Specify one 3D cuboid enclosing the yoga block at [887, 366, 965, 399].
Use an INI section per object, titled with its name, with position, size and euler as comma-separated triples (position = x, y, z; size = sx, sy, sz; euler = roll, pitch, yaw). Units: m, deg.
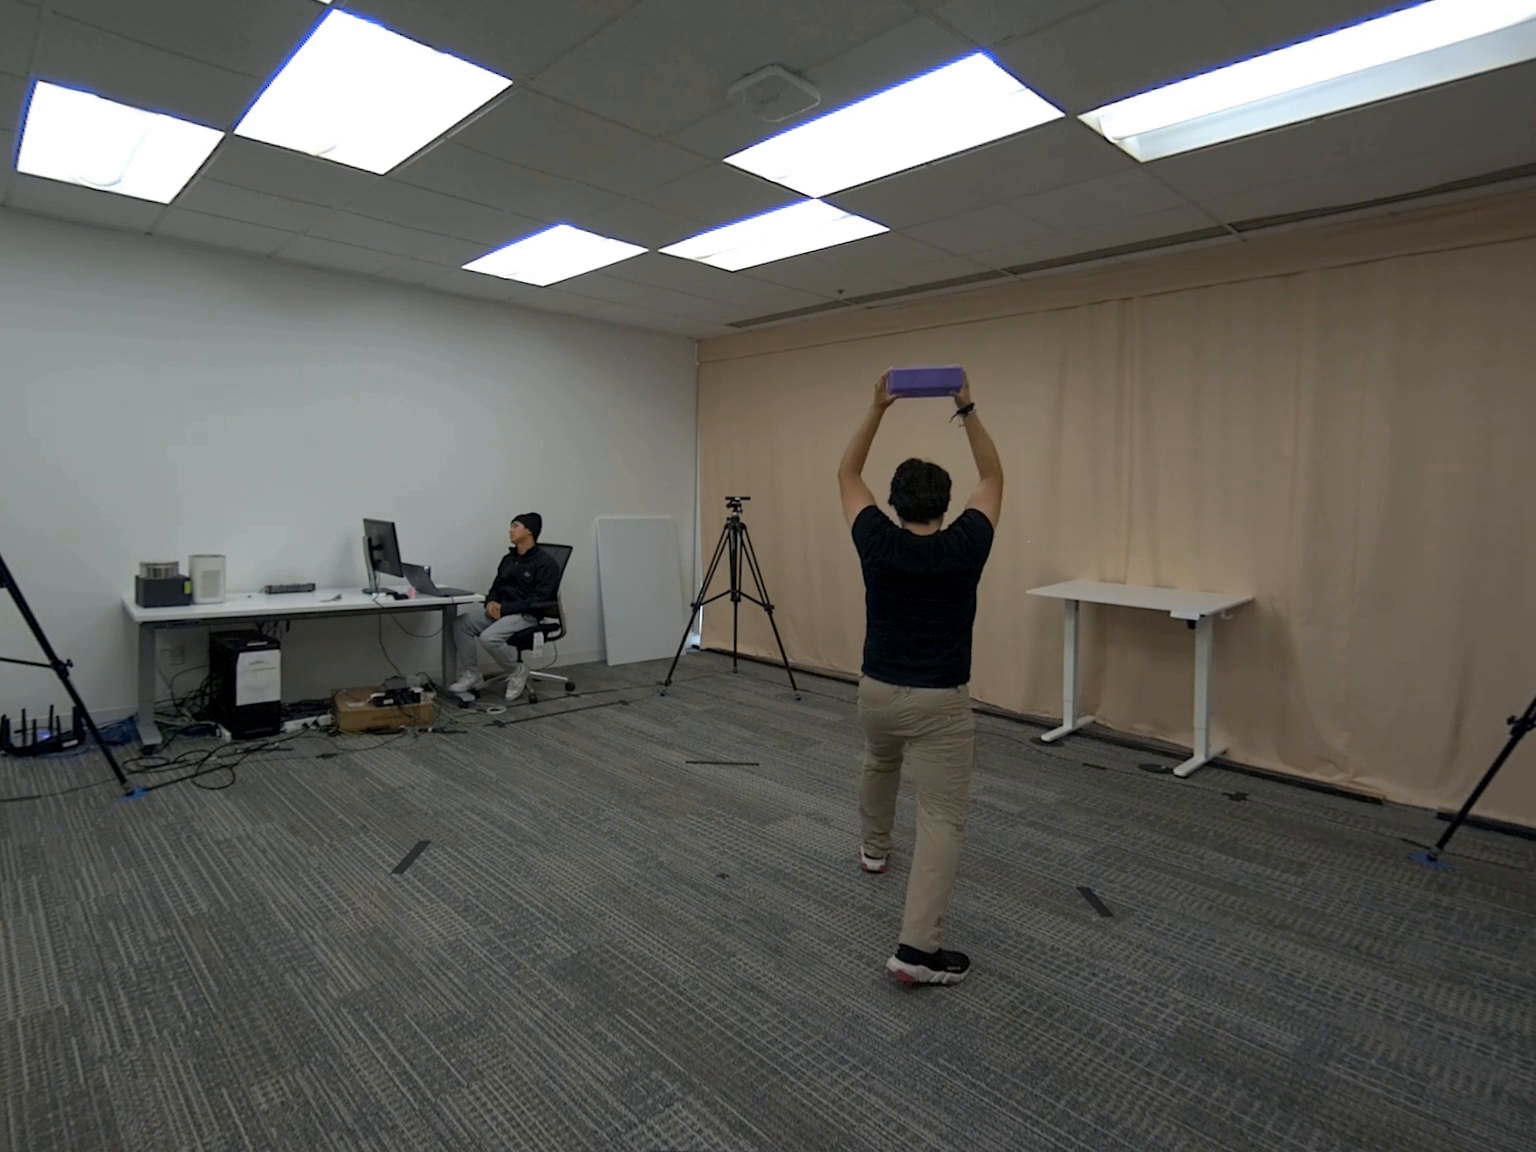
[yoga block]
position = 0.517, -0.639, 2.786
size = 0.230, 0.076, 0.148
euler = -2, -2, 7
